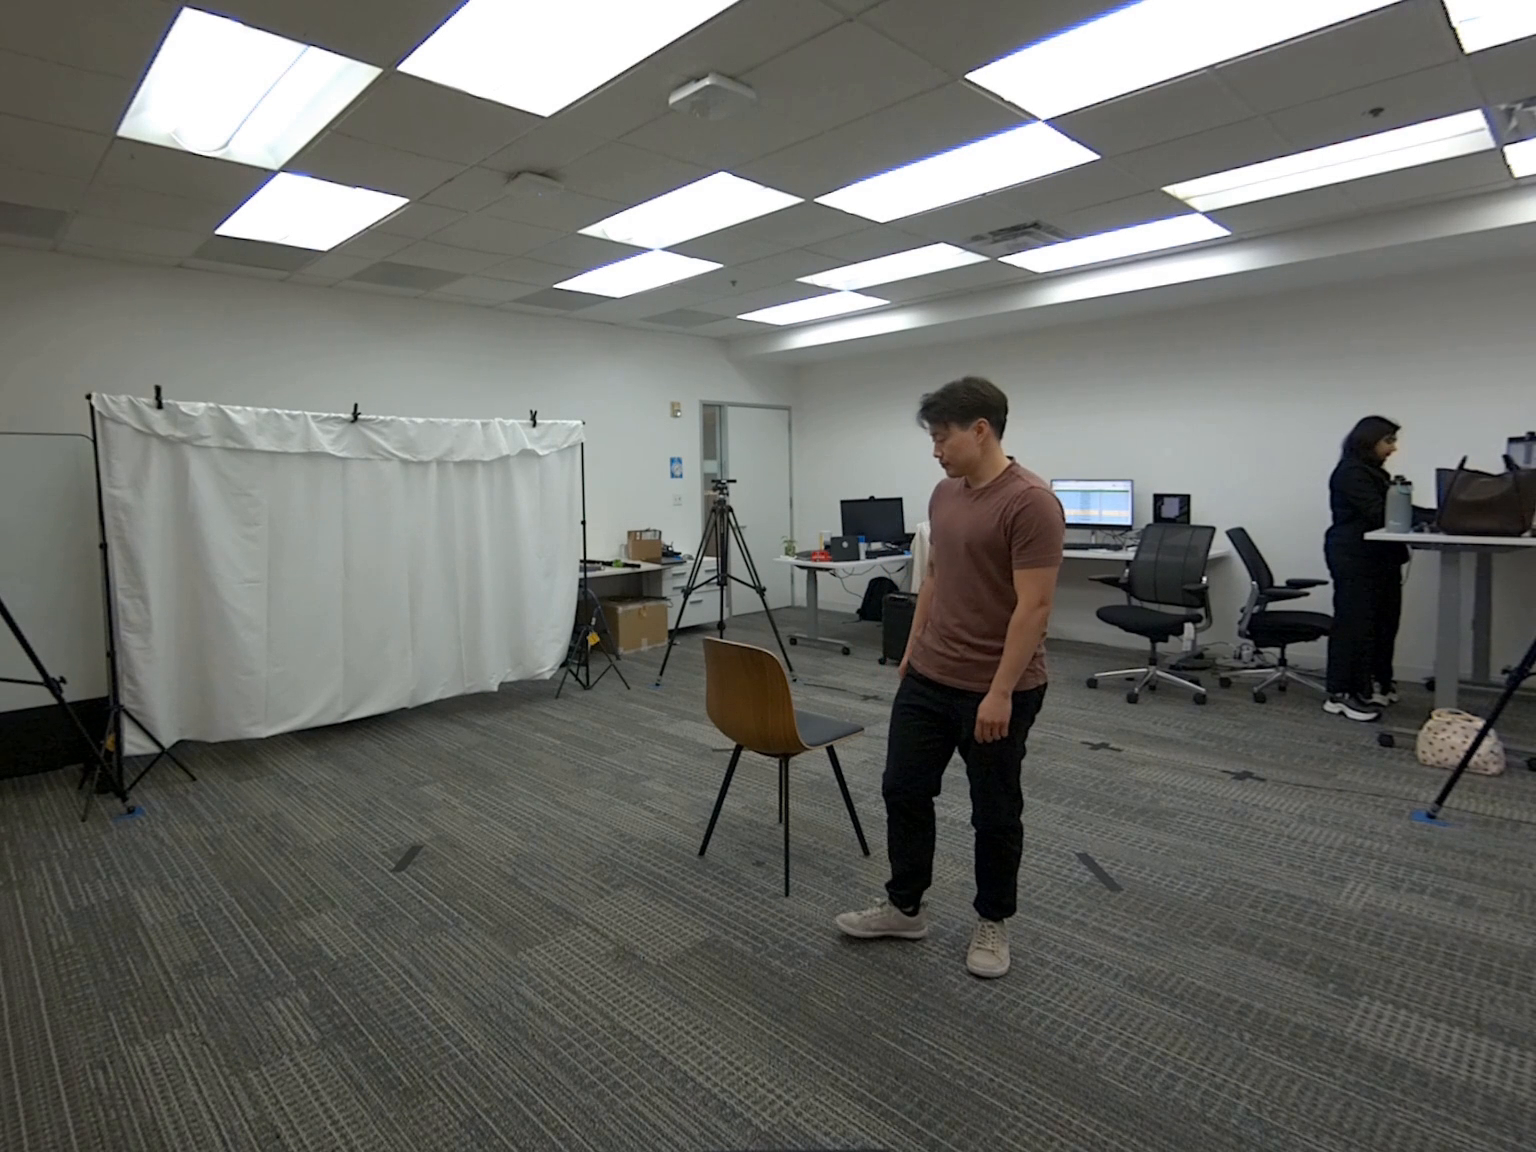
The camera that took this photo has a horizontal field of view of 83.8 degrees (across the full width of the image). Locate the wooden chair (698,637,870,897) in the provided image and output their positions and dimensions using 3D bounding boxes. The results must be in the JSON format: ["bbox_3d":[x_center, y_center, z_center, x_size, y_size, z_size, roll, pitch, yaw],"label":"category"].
[{"bbox_3d":[0.058,0.614,3.147,0.511,0.872,0.493,-11,10,-44],"label":"wooden chair"}]
